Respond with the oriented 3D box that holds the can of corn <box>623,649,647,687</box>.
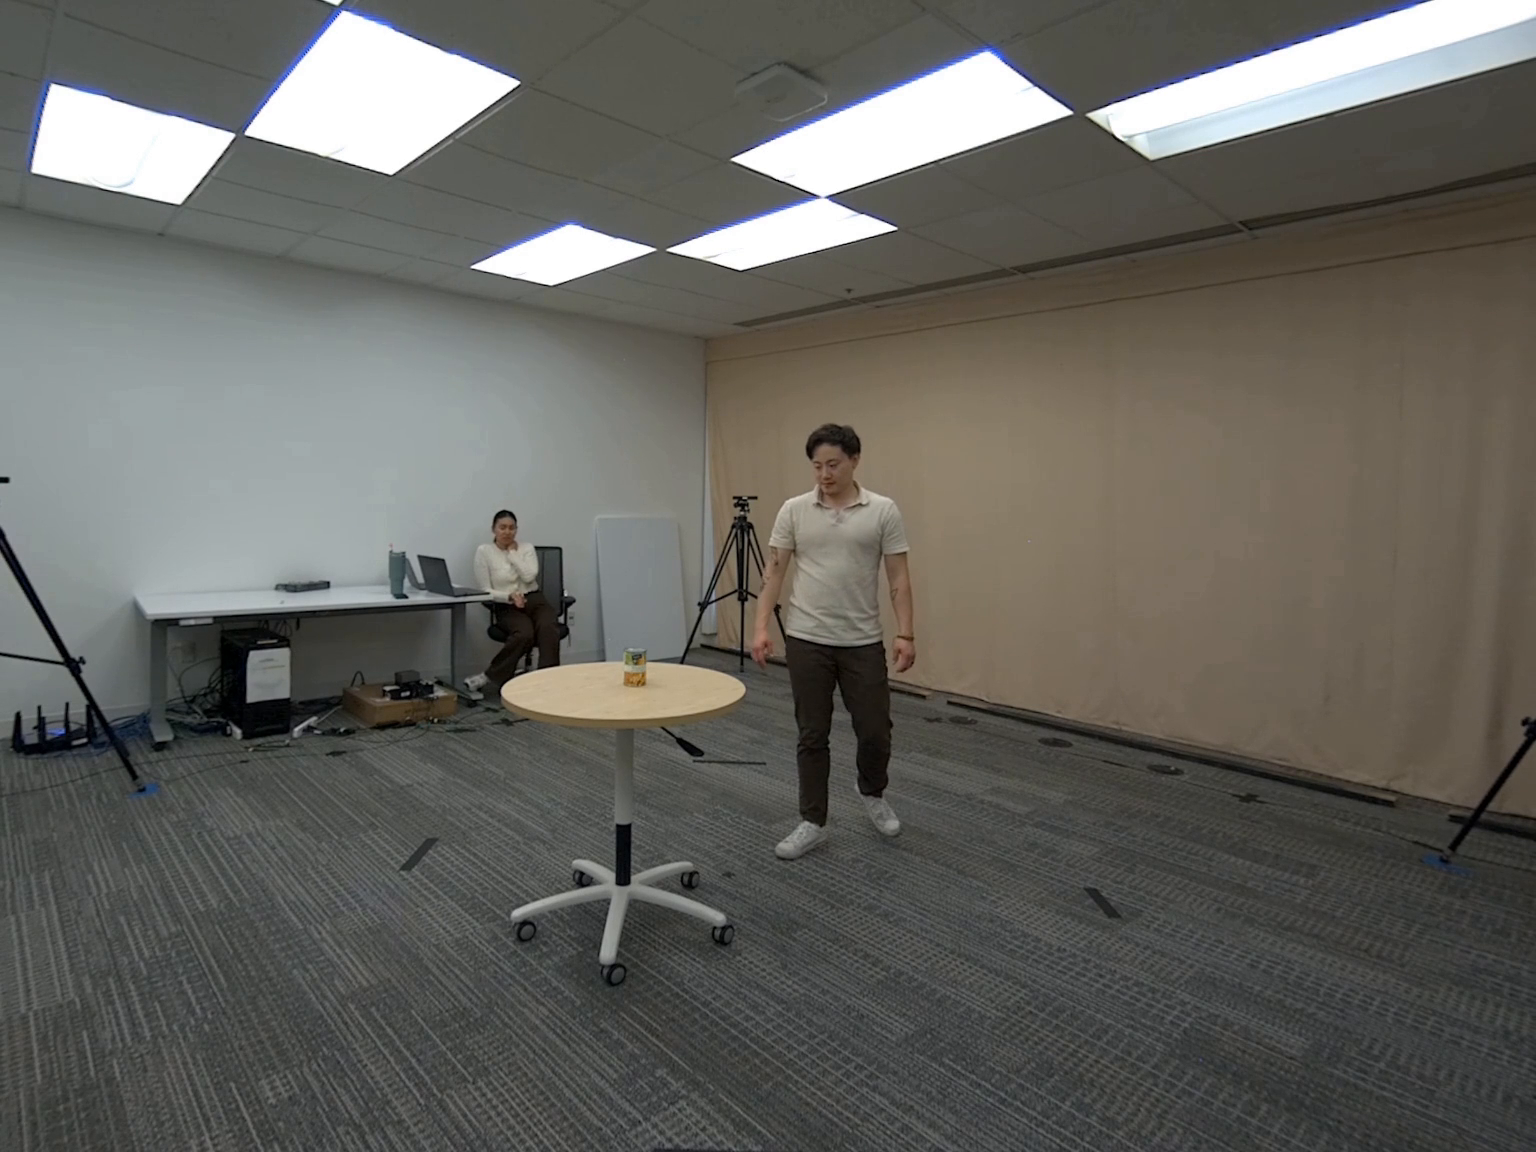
[{"bbox_3d":[-0.441,0.294,2.700,0.074,0.111,0.074,1,4,-1],"label":"can of corn"}]
